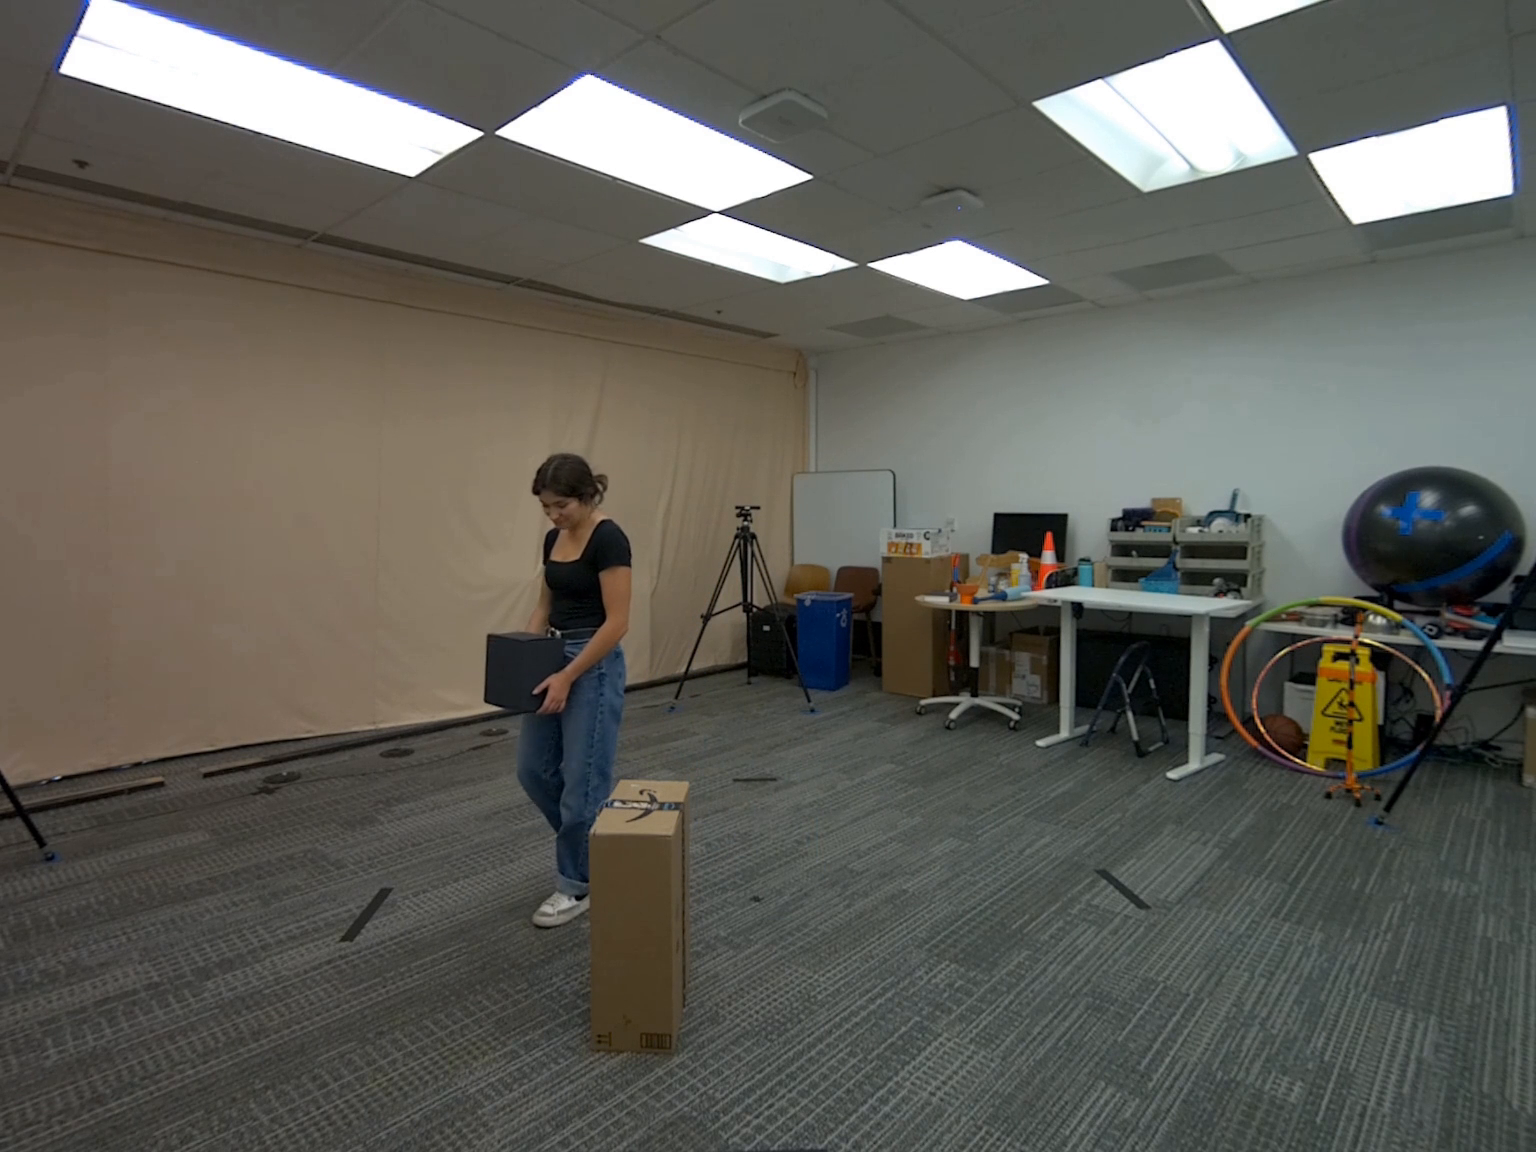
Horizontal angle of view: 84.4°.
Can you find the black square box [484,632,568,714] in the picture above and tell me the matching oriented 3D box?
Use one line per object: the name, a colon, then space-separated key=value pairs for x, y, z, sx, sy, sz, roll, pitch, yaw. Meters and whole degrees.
black square box: x=-0.796 y=0.311 z=2.779 sx=0.221 sy=0.227 sz=0.153 roll=6 pitch=4 yaw=18
